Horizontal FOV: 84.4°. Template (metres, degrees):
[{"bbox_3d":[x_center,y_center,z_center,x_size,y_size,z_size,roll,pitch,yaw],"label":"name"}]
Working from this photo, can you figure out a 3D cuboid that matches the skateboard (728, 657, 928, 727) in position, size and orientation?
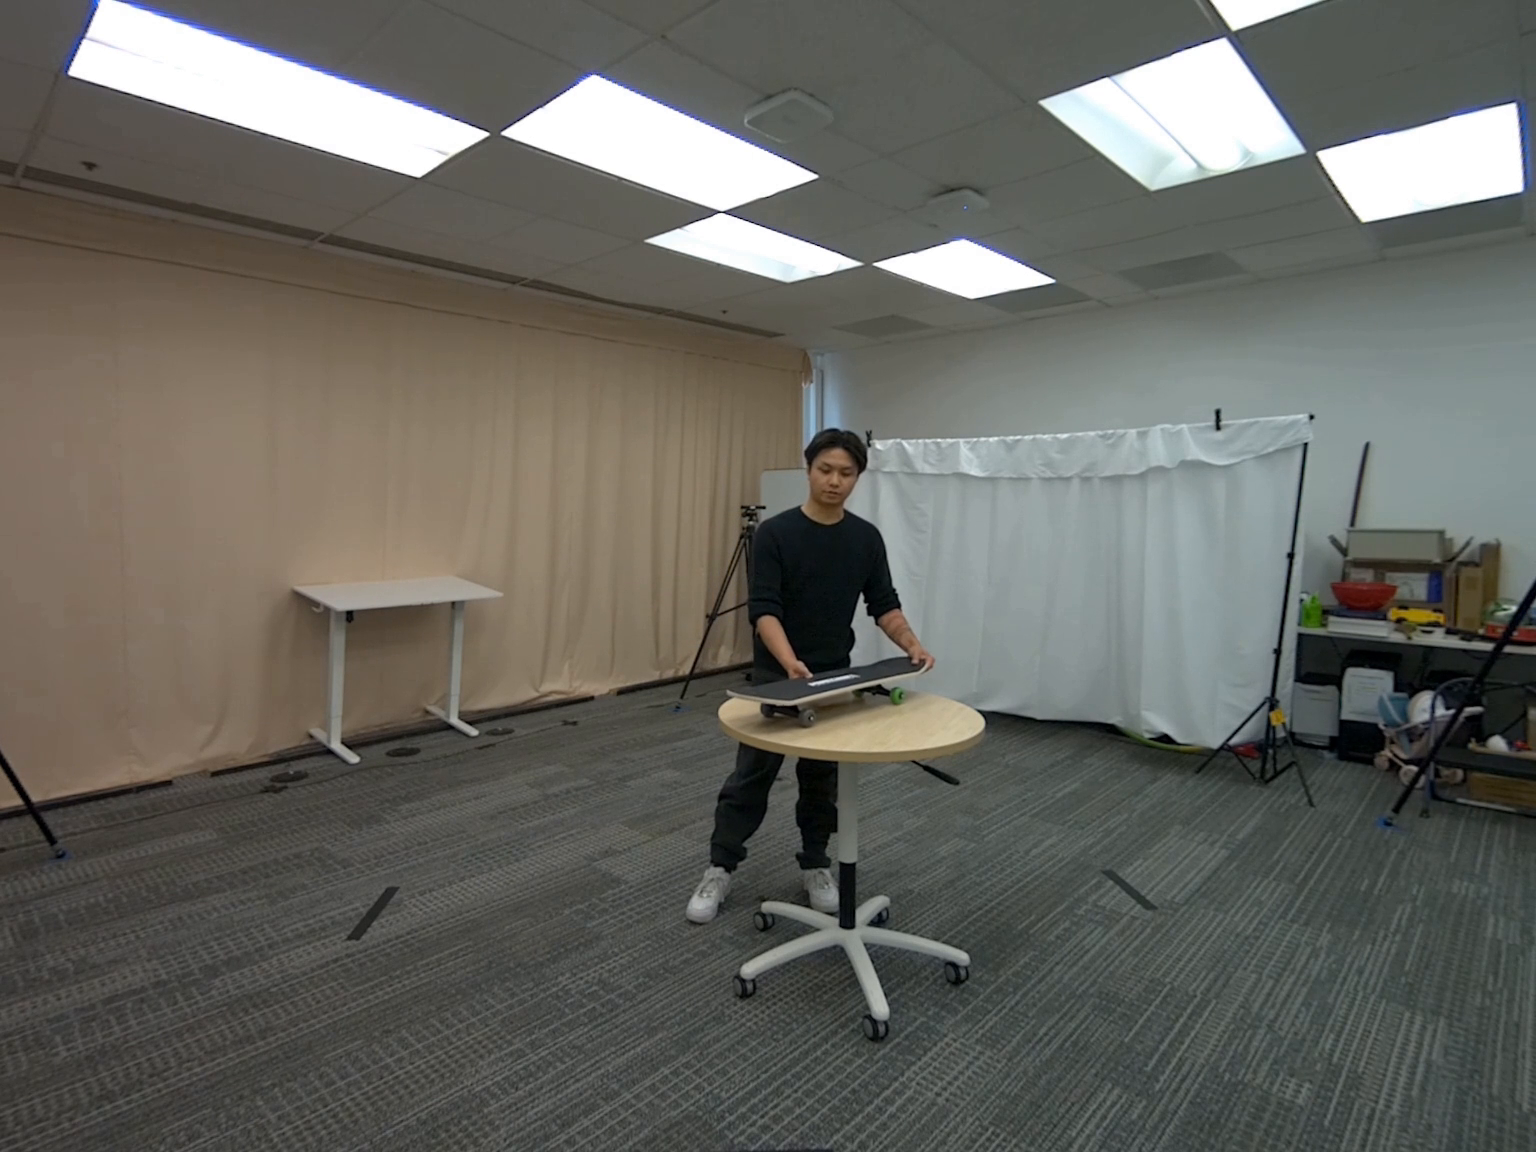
[{"bbox_3d":[0.201,0.349,2.503,0.761,0.110,0.200,-5,5,-43],"label":"skateboard"}]
